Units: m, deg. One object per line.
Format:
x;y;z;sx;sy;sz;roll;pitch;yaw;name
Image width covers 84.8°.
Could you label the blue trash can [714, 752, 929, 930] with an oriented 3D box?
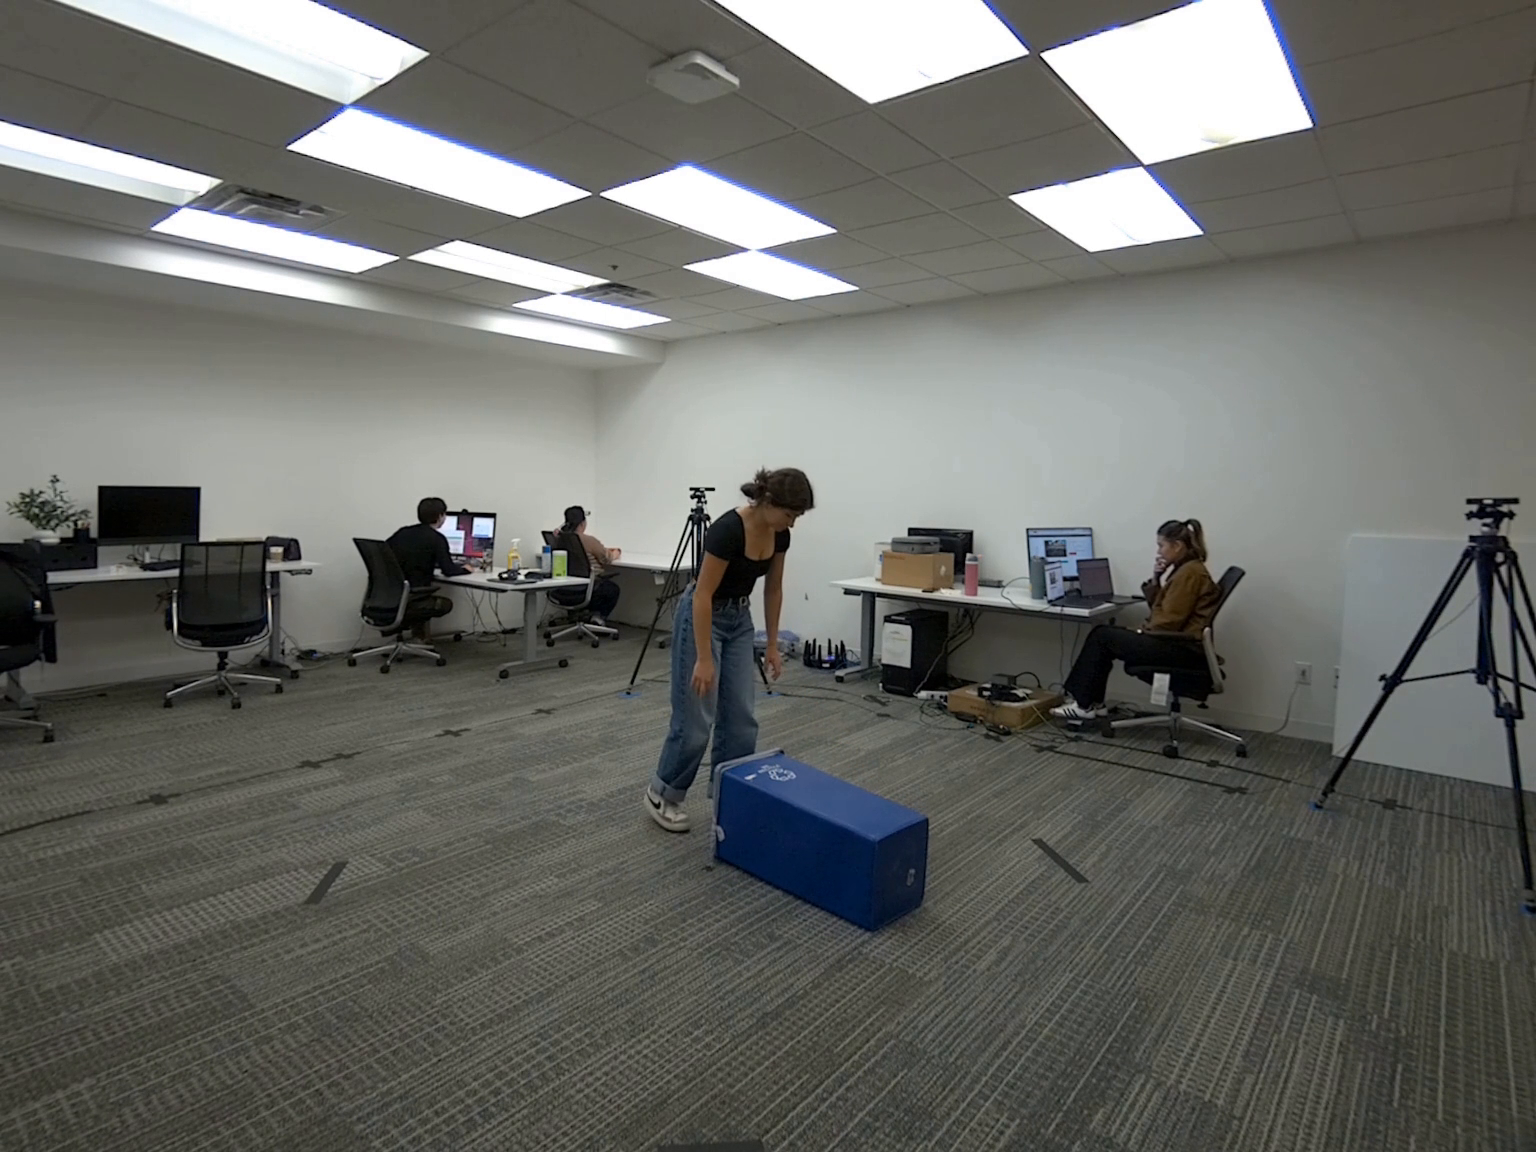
0.170;0.917;3.022;0.739;0.376;0.363;10;9;44;blue trash can
